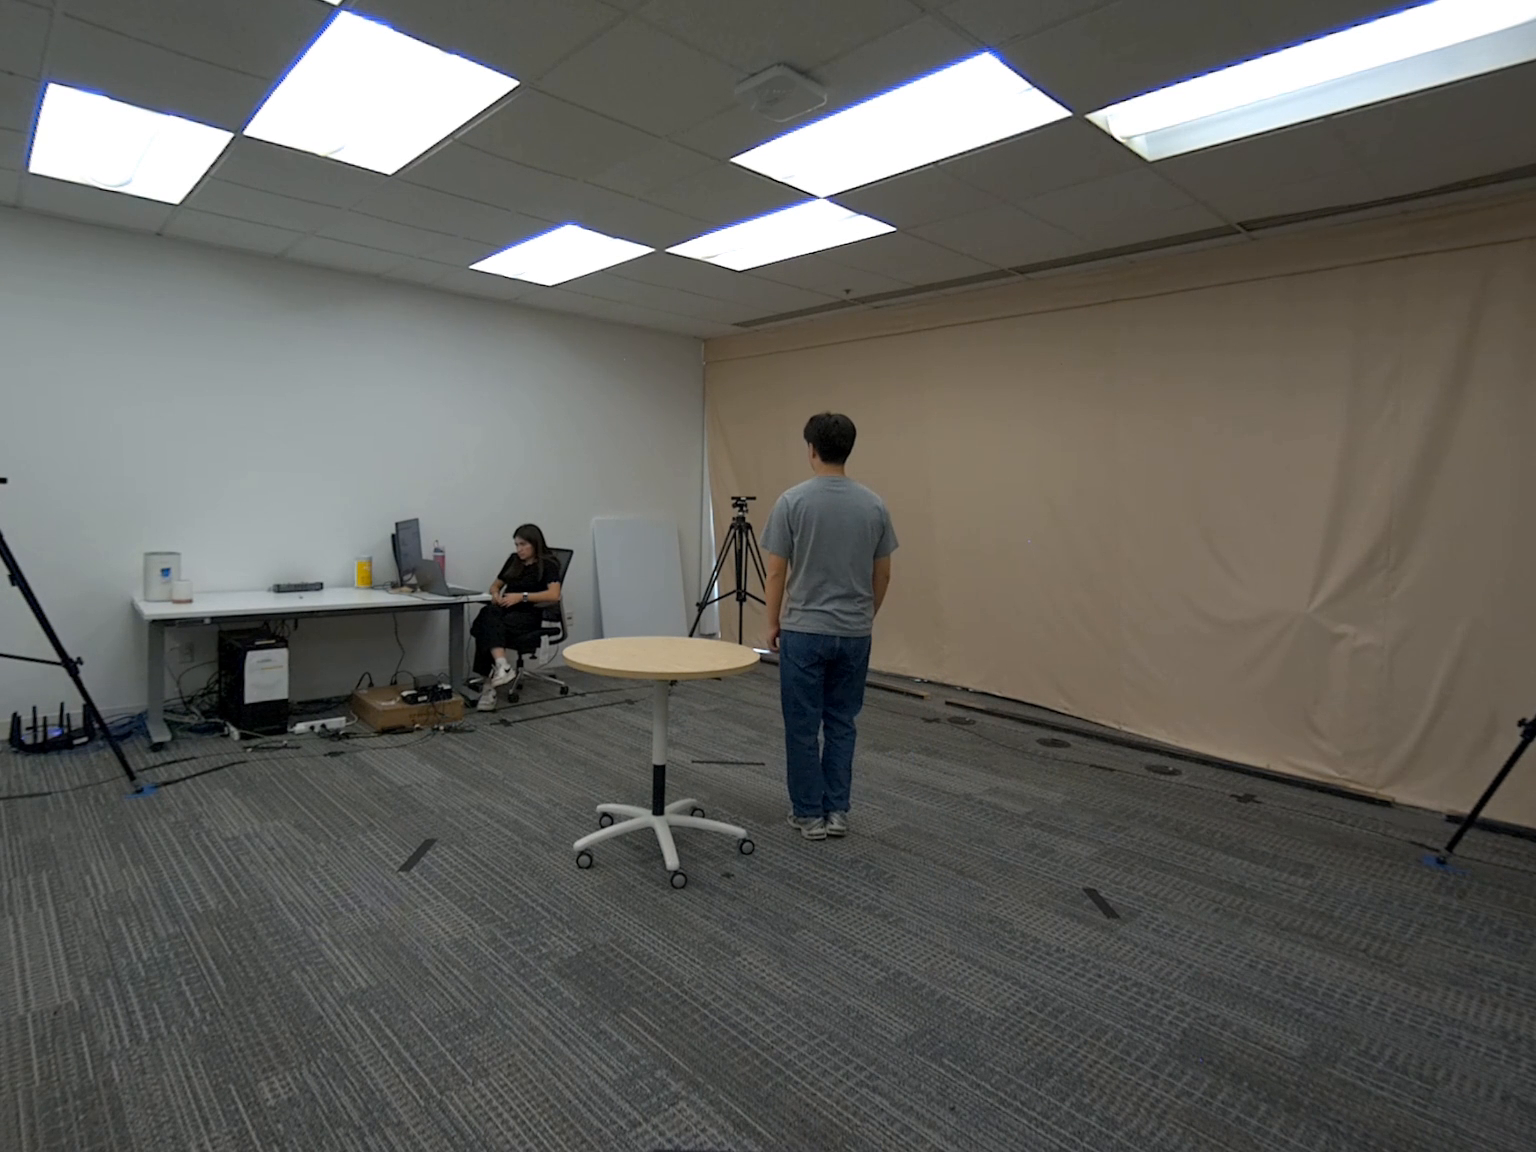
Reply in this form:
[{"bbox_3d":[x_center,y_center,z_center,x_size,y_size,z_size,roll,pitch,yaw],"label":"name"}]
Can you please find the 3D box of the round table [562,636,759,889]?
[{"bbox_3d":[-0.426,0.693,3.302,0.763,0.792,0.766,1,4,-1],"label":"round table"}]
